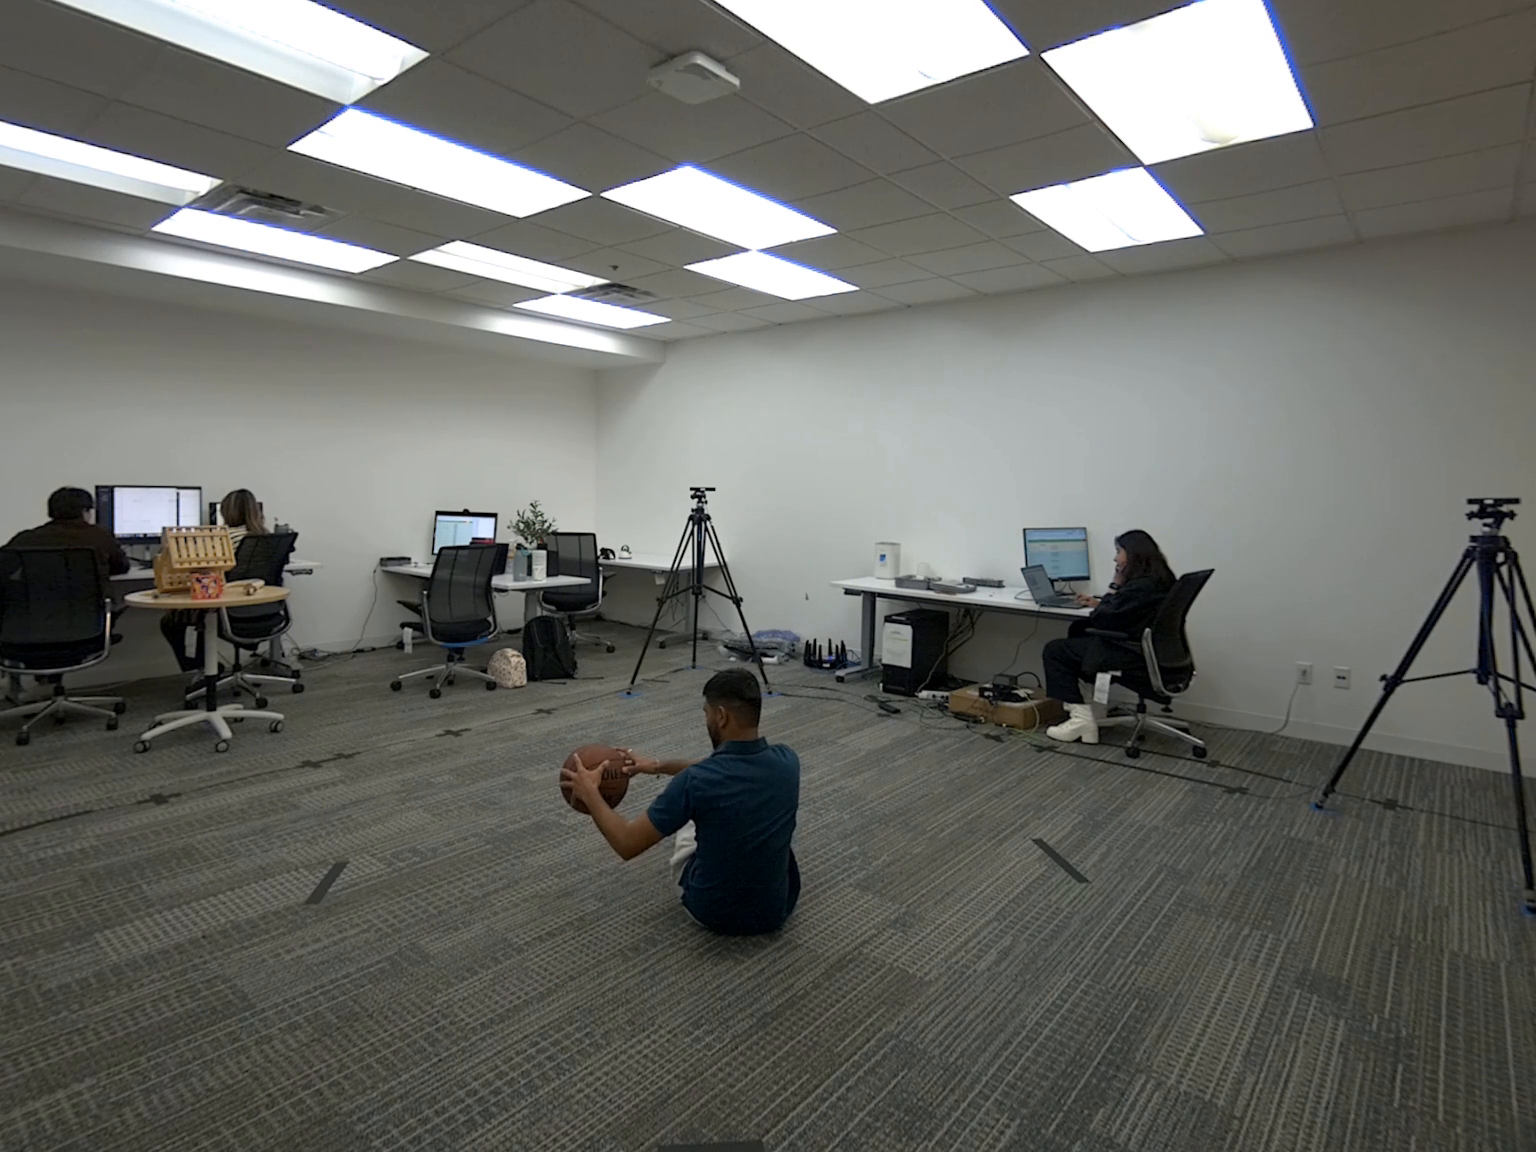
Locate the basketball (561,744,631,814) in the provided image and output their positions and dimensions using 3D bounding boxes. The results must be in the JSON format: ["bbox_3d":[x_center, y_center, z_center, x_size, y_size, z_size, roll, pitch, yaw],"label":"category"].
[{"bbox_3d":[-0.612,0.715,2.936,0.235,0.235,0.237,1,4,-2],"label":"basketball"}]
